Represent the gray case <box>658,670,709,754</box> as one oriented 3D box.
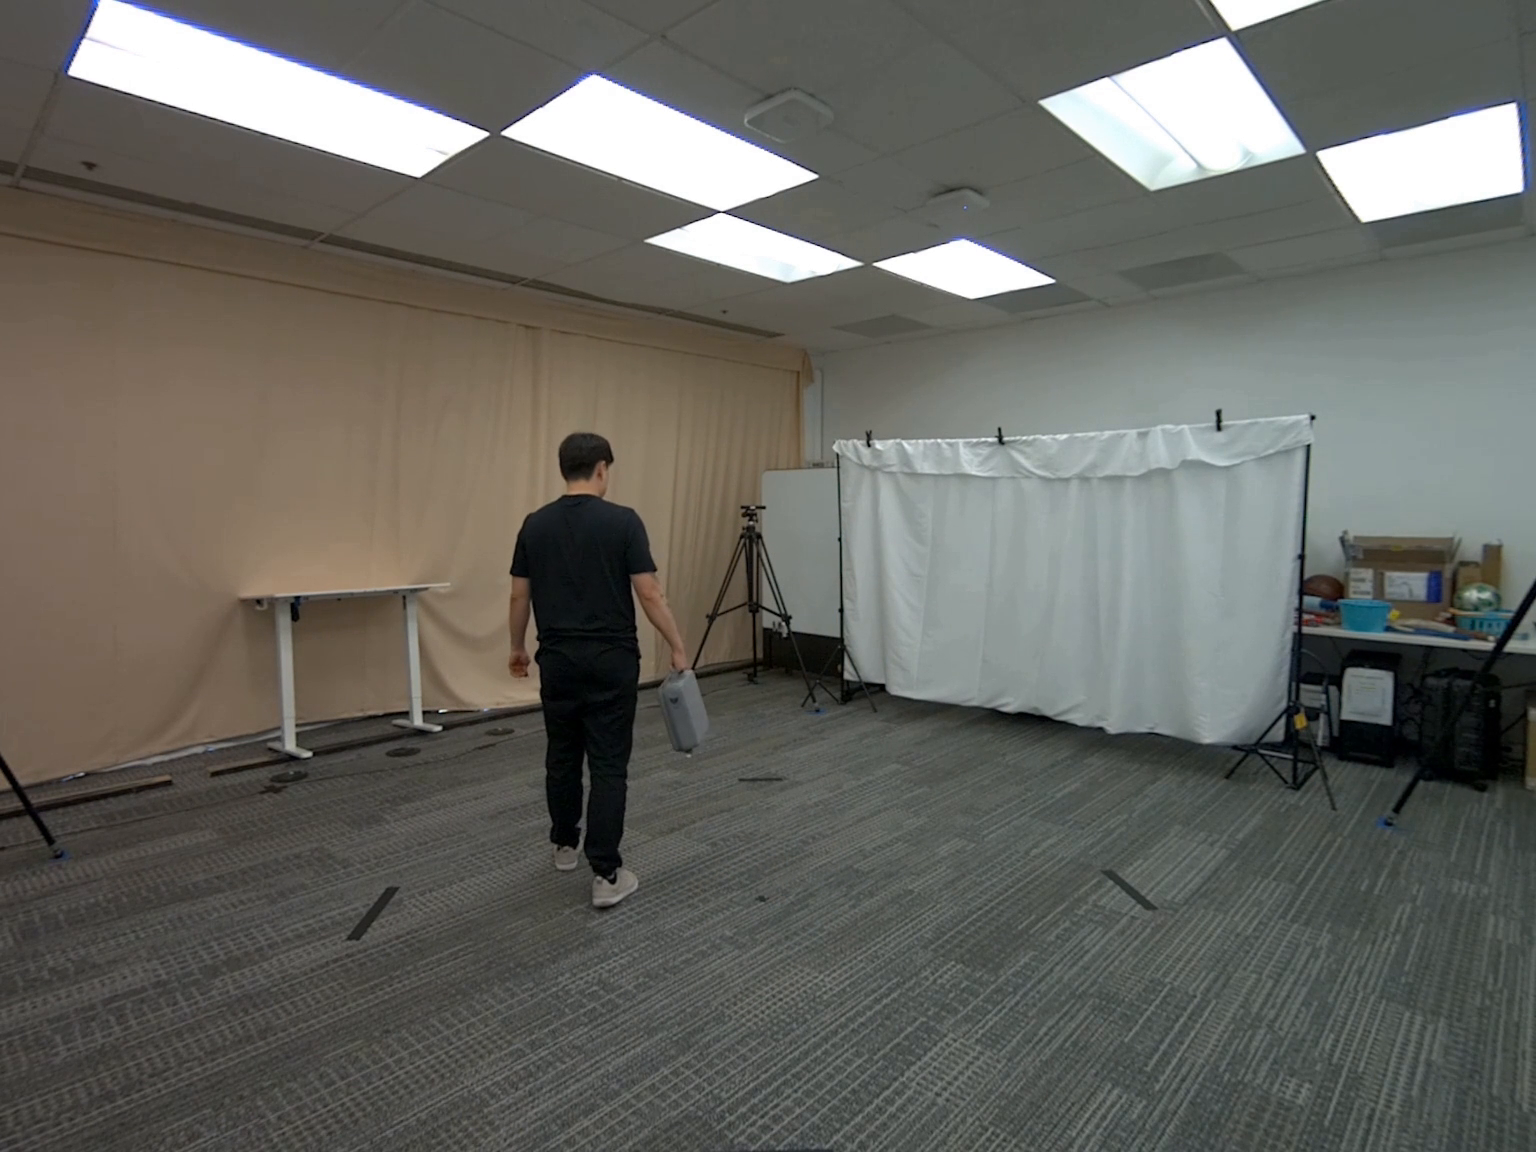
[{"bbox_3d":[-0.320,0.496,3.156,0.105,0.259,0.256,-10,7,6],"label":"gray case"}]
